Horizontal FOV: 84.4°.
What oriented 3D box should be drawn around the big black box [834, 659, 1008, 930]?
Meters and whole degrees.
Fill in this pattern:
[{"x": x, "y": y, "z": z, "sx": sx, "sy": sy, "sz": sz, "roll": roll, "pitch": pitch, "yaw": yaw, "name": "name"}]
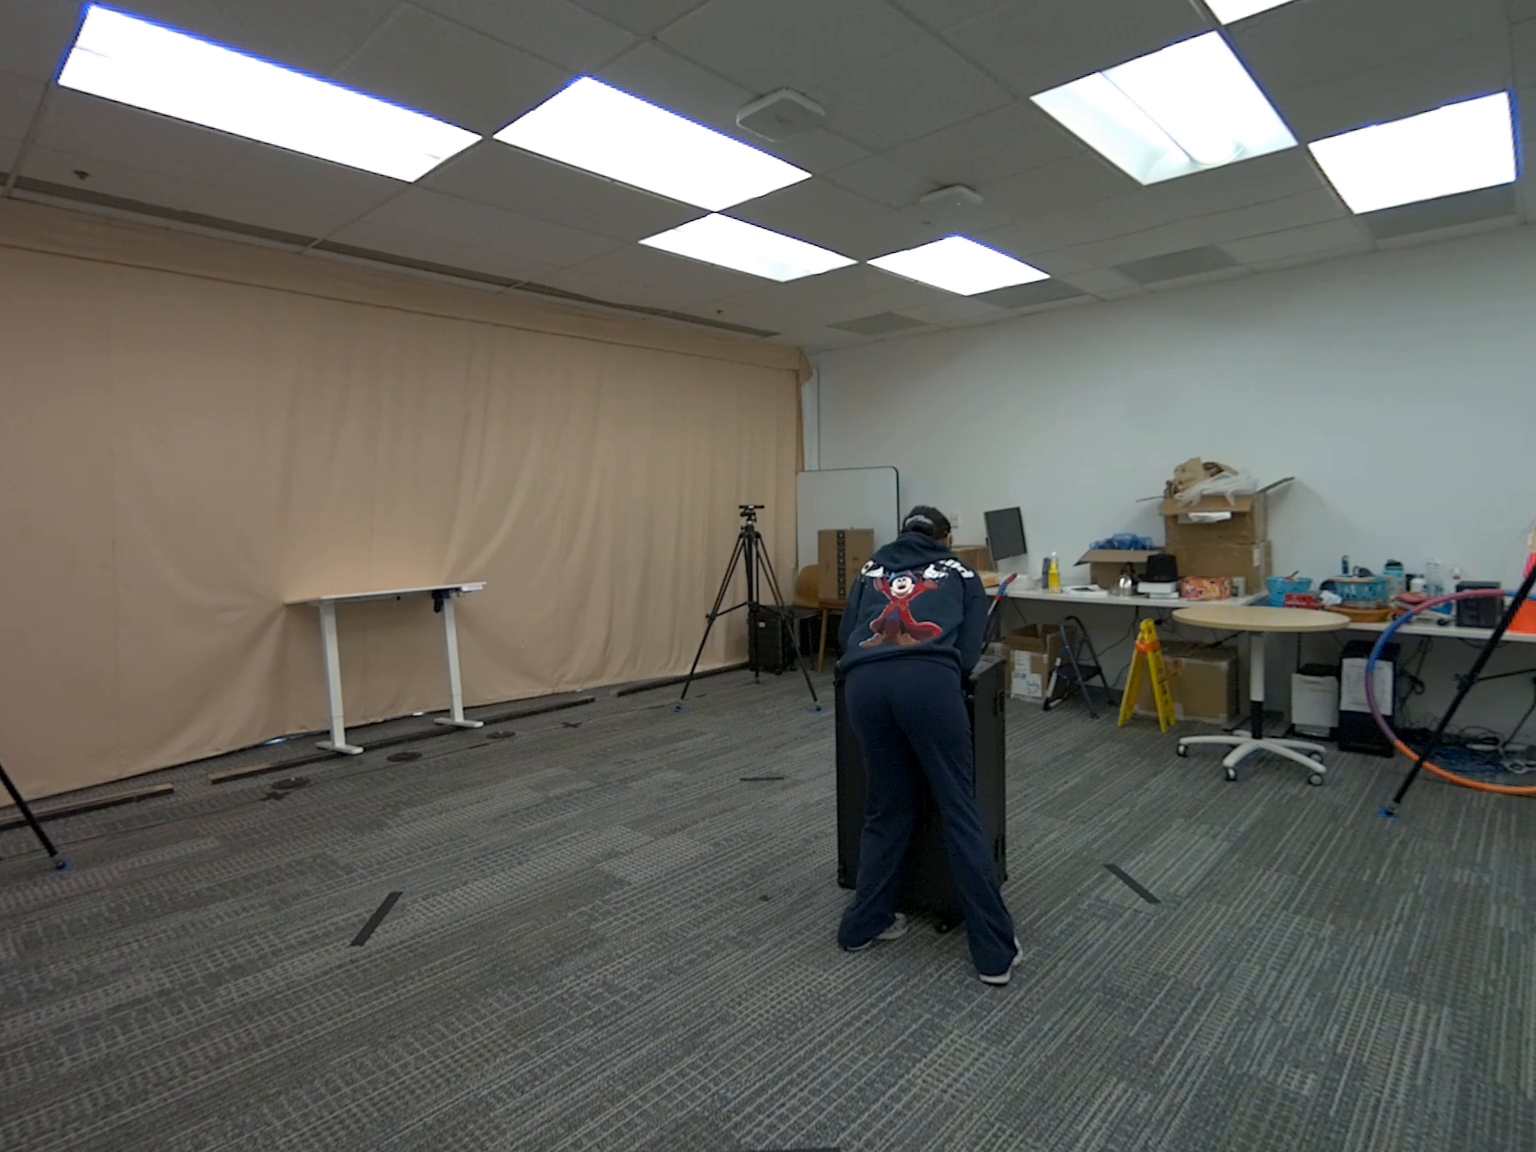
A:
[{"x": 0.536, "y": 0.713, "z": 2.900, "sx": 0.536, "sy": 0.859, "sz": 0.386, "roll": 1, "pitch": 5, "yaw": 31, "name": "big black box"}]
